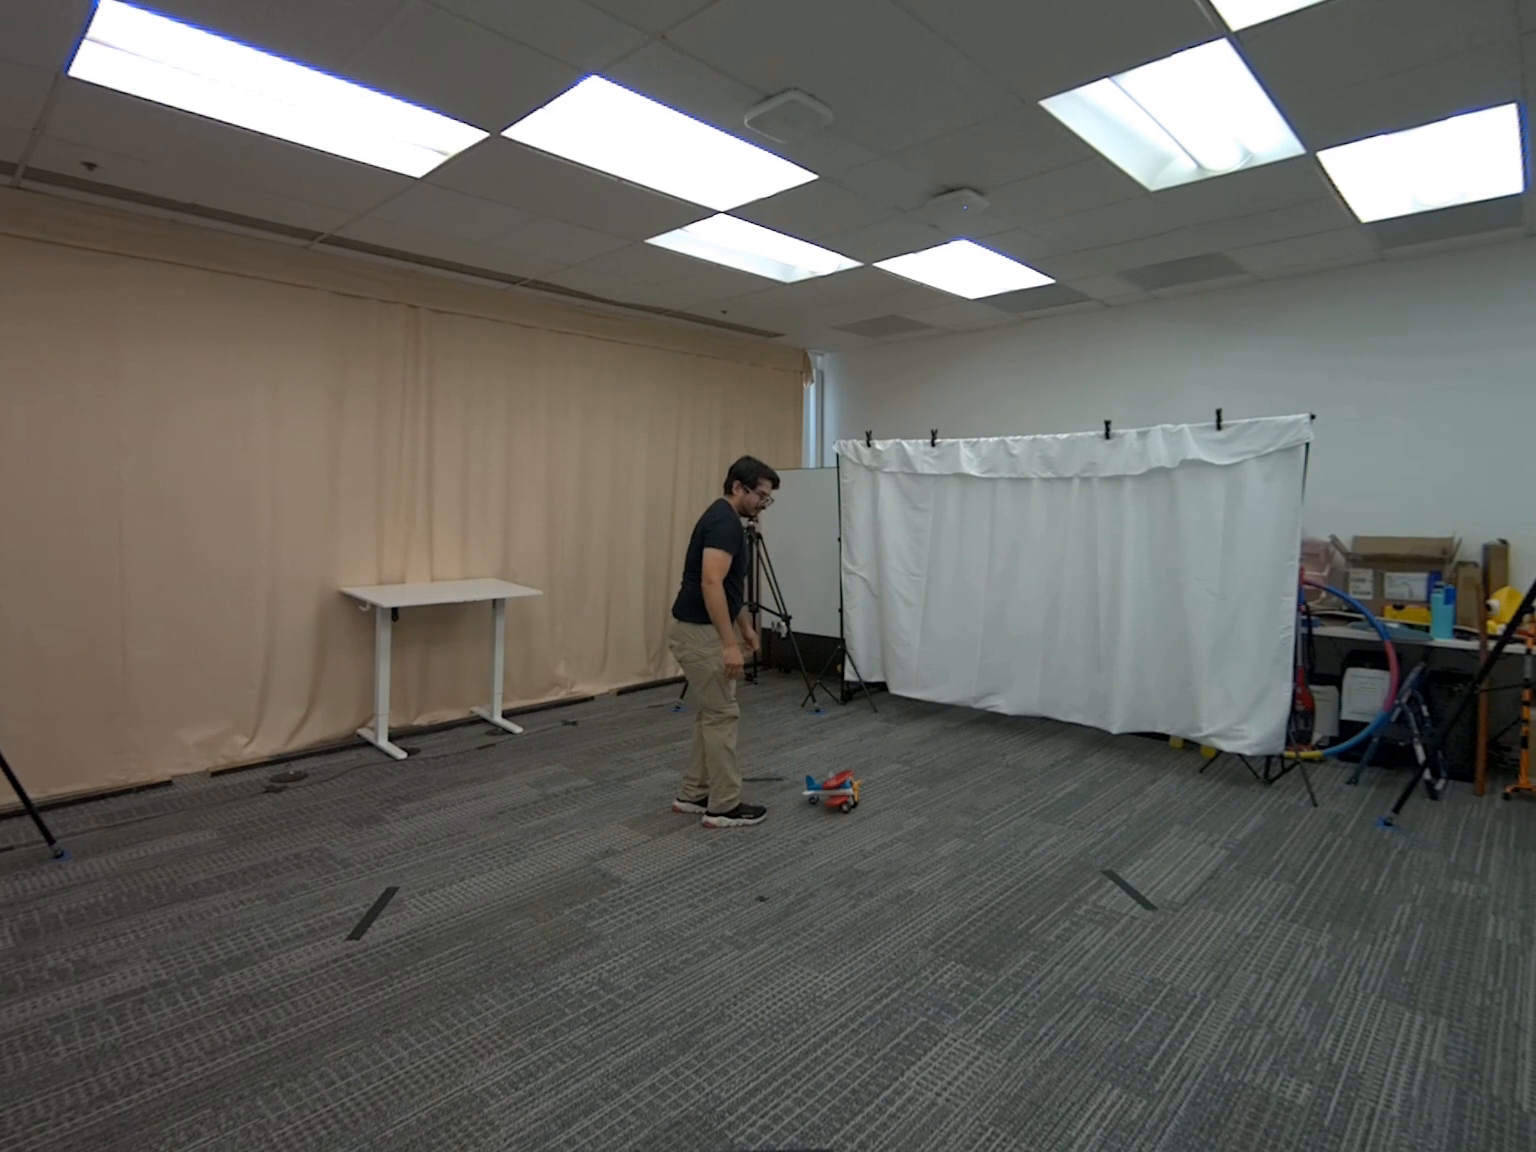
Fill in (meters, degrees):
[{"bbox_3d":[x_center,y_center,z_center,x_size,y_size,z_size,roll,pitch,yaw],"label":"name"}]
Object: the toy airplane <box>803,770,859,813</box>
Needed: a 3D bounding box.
[{"bbox_3d":[0.289,0.999,3.875,0.260,0.156,0.251,2,4,1],"label":"toy airplane"}]
